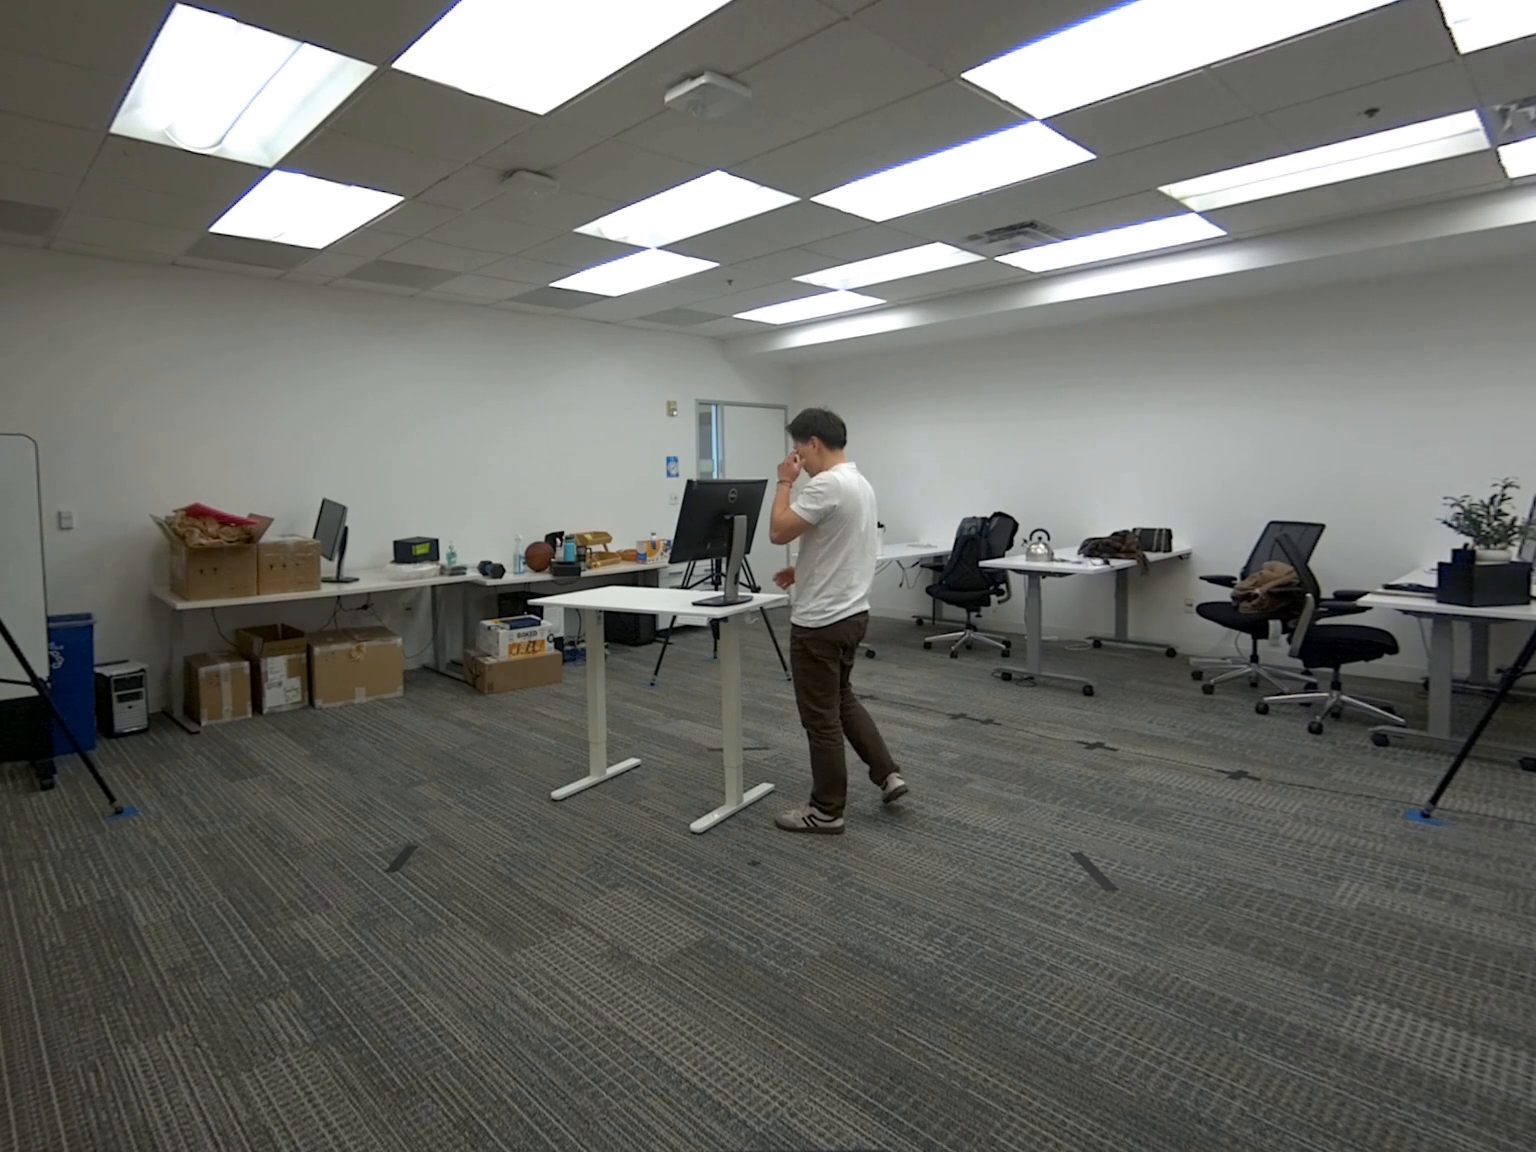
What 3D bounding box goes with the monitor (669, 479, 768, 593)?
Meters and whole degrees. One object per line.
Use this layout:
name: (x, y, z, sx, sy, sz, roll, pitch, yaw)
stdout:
monitor: (-0.175, -0.147, 3.556, 0.192, 0.520, 0.526, 5, 7, 33)
